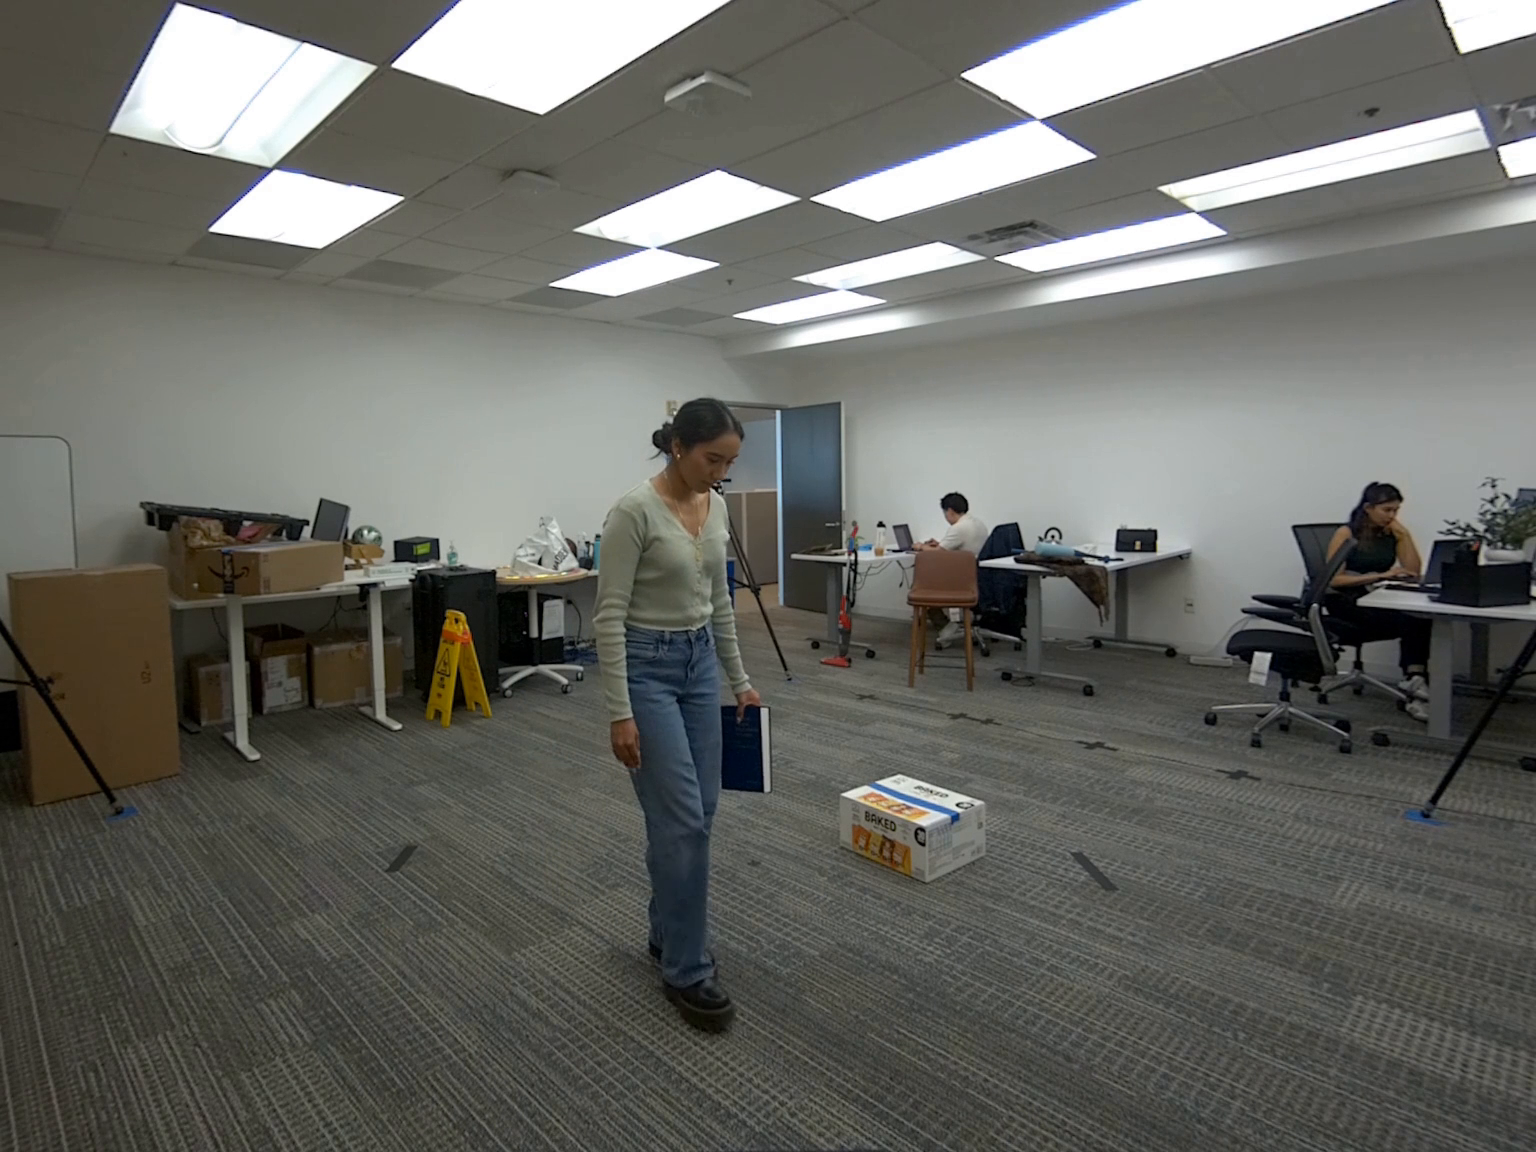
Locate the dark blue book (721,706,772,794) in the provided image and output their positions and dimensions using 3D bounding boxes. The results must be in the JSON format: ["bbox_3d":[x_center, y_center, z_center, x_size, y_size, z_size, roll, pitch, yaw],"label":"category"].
[{"bbox_3d":[-0.077,0.507,2.518,0.167,0.247,0.044,-7,-10,39],"label":"dark blue book"}]
